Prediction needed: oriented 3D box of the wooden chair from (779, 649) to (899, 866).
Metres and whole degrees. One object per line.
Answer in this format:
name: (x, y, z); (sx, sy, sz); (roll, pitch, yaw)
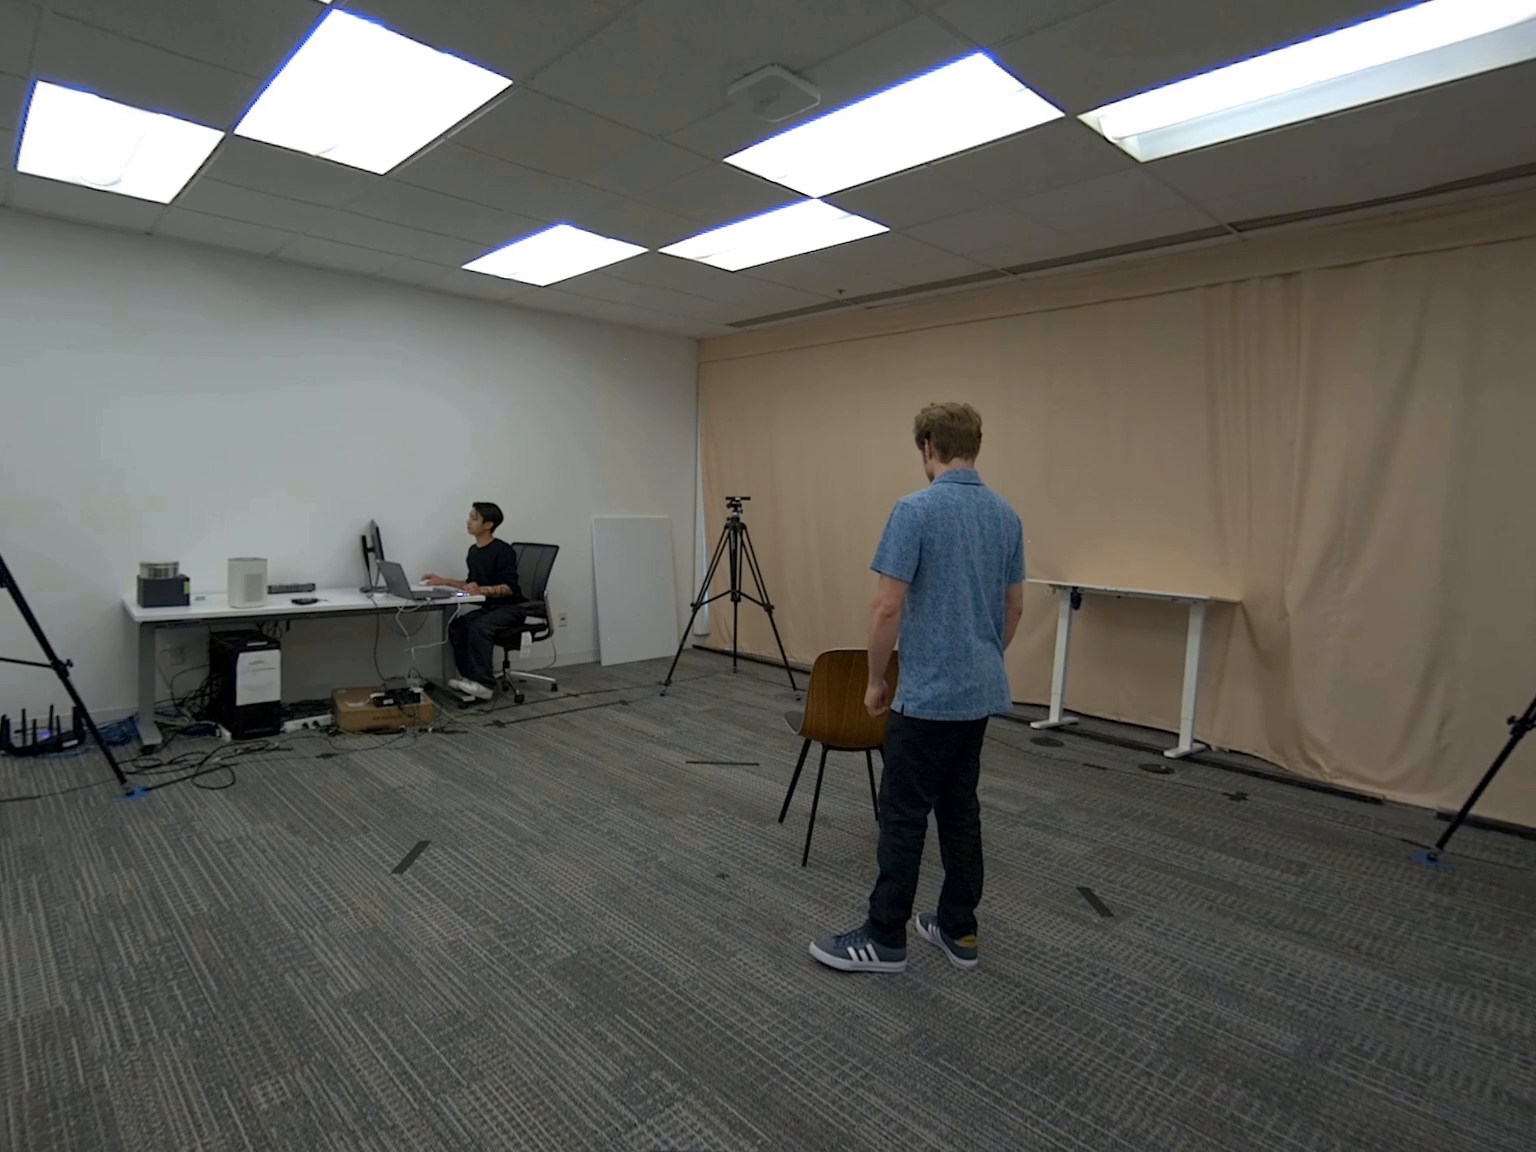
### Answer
wooden chair: (0.304, 0.658, 3.429); (0.474, 0.873, 0.530); (1, 8, -11)
